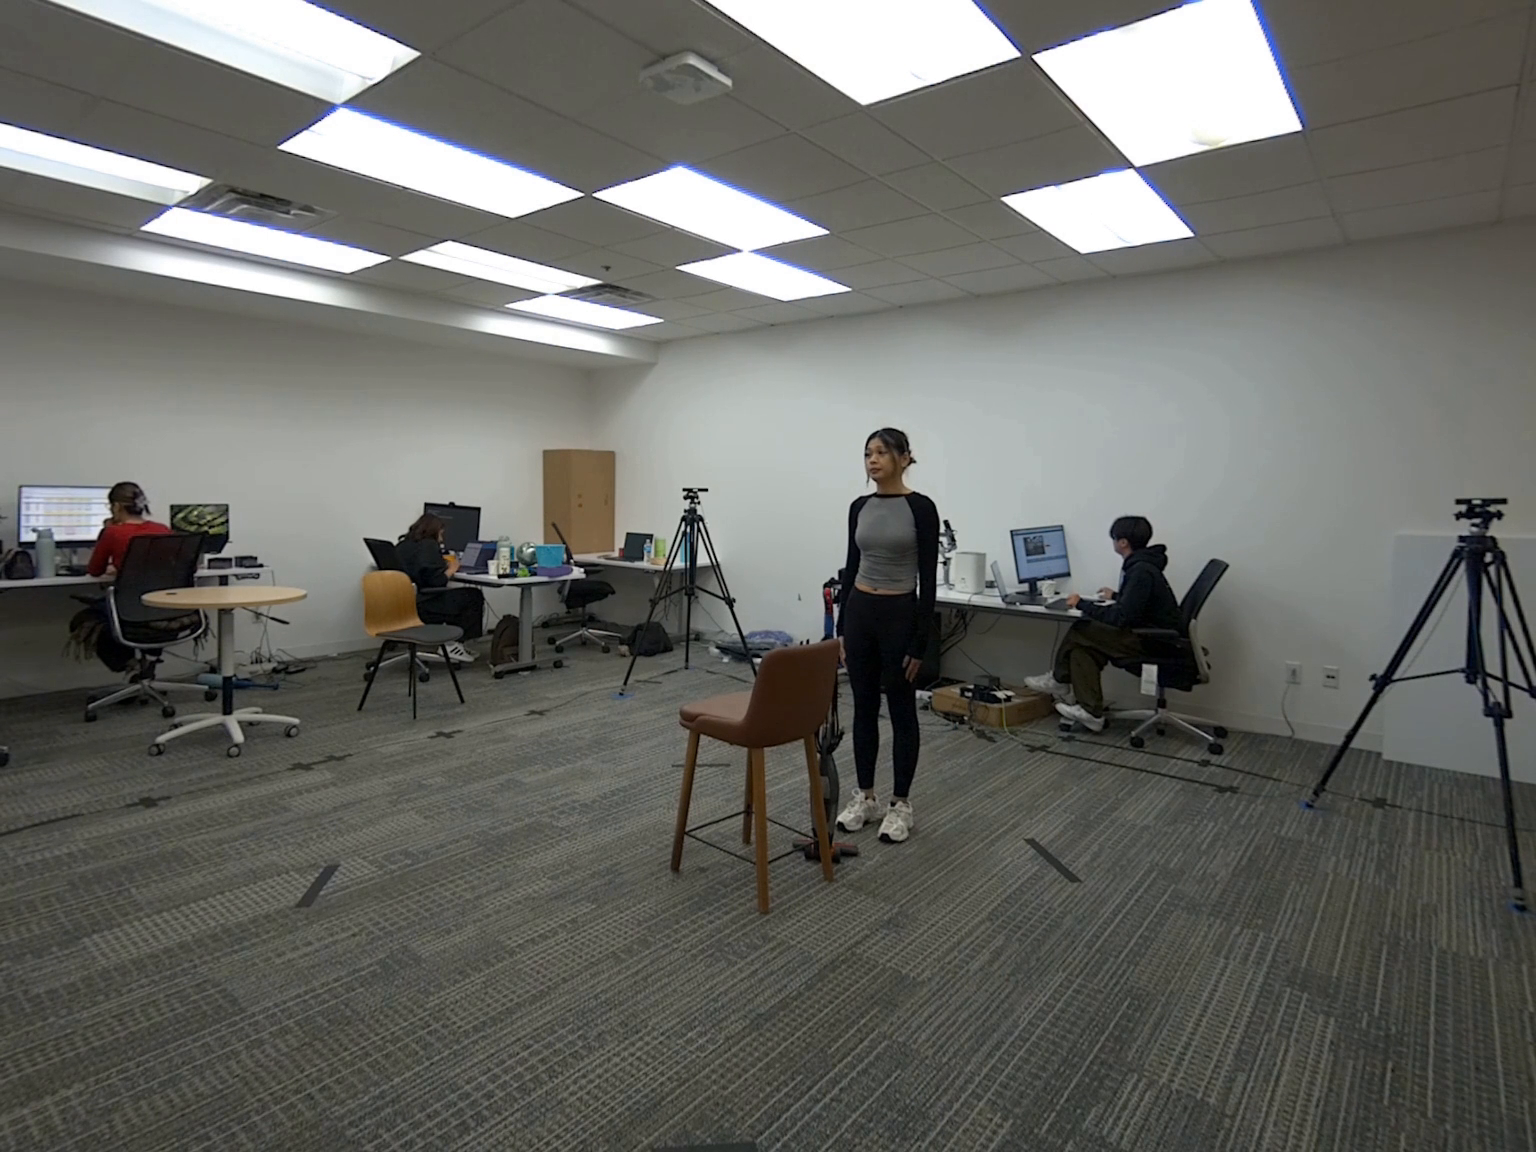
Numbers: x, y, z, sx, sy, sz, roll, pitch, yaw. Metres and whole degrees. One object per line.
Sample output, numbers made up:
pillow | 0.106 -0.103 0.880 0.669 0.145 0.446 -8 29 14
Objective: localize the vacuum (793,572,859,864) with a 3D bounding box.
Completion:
vacuum | 0.209 0.557 3.169 0.246 1.044 0.148 -6 5 -37
